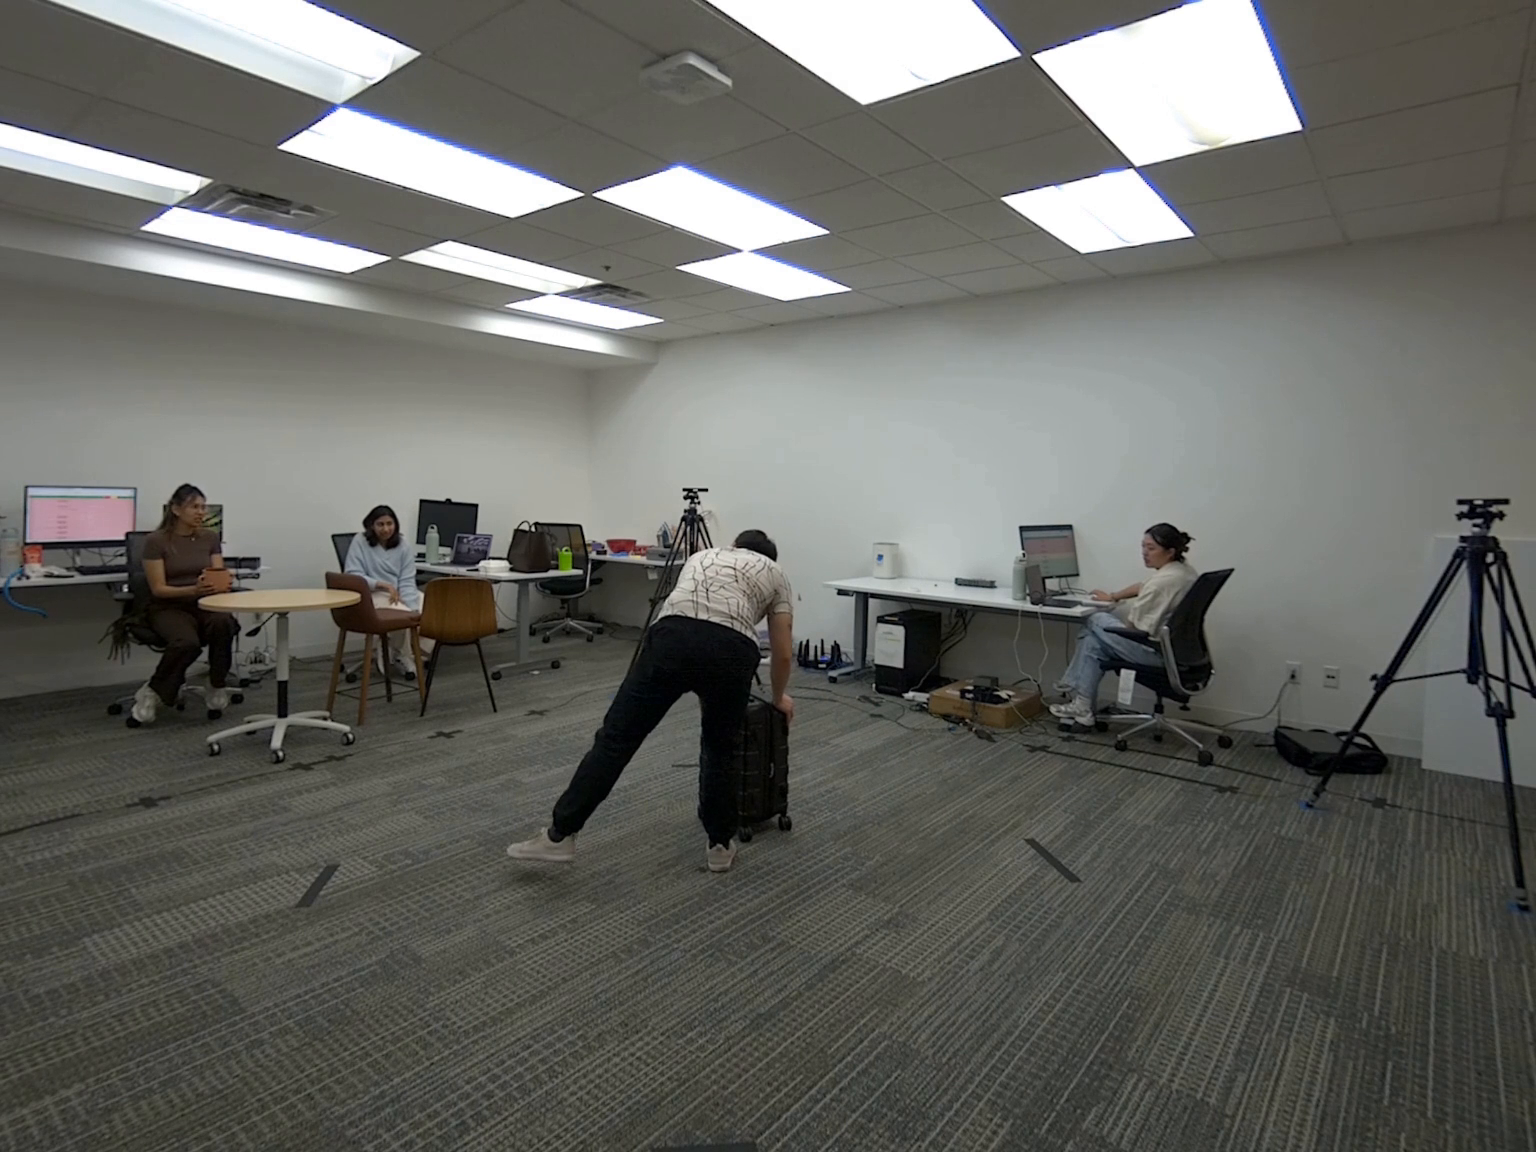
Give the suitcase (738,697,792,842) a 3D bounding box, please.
[{"bbox_3d":[-0.117,0.752,3.566,0.241,0.549,0.387,-1,2,-36],"label":"suitcase"}]
